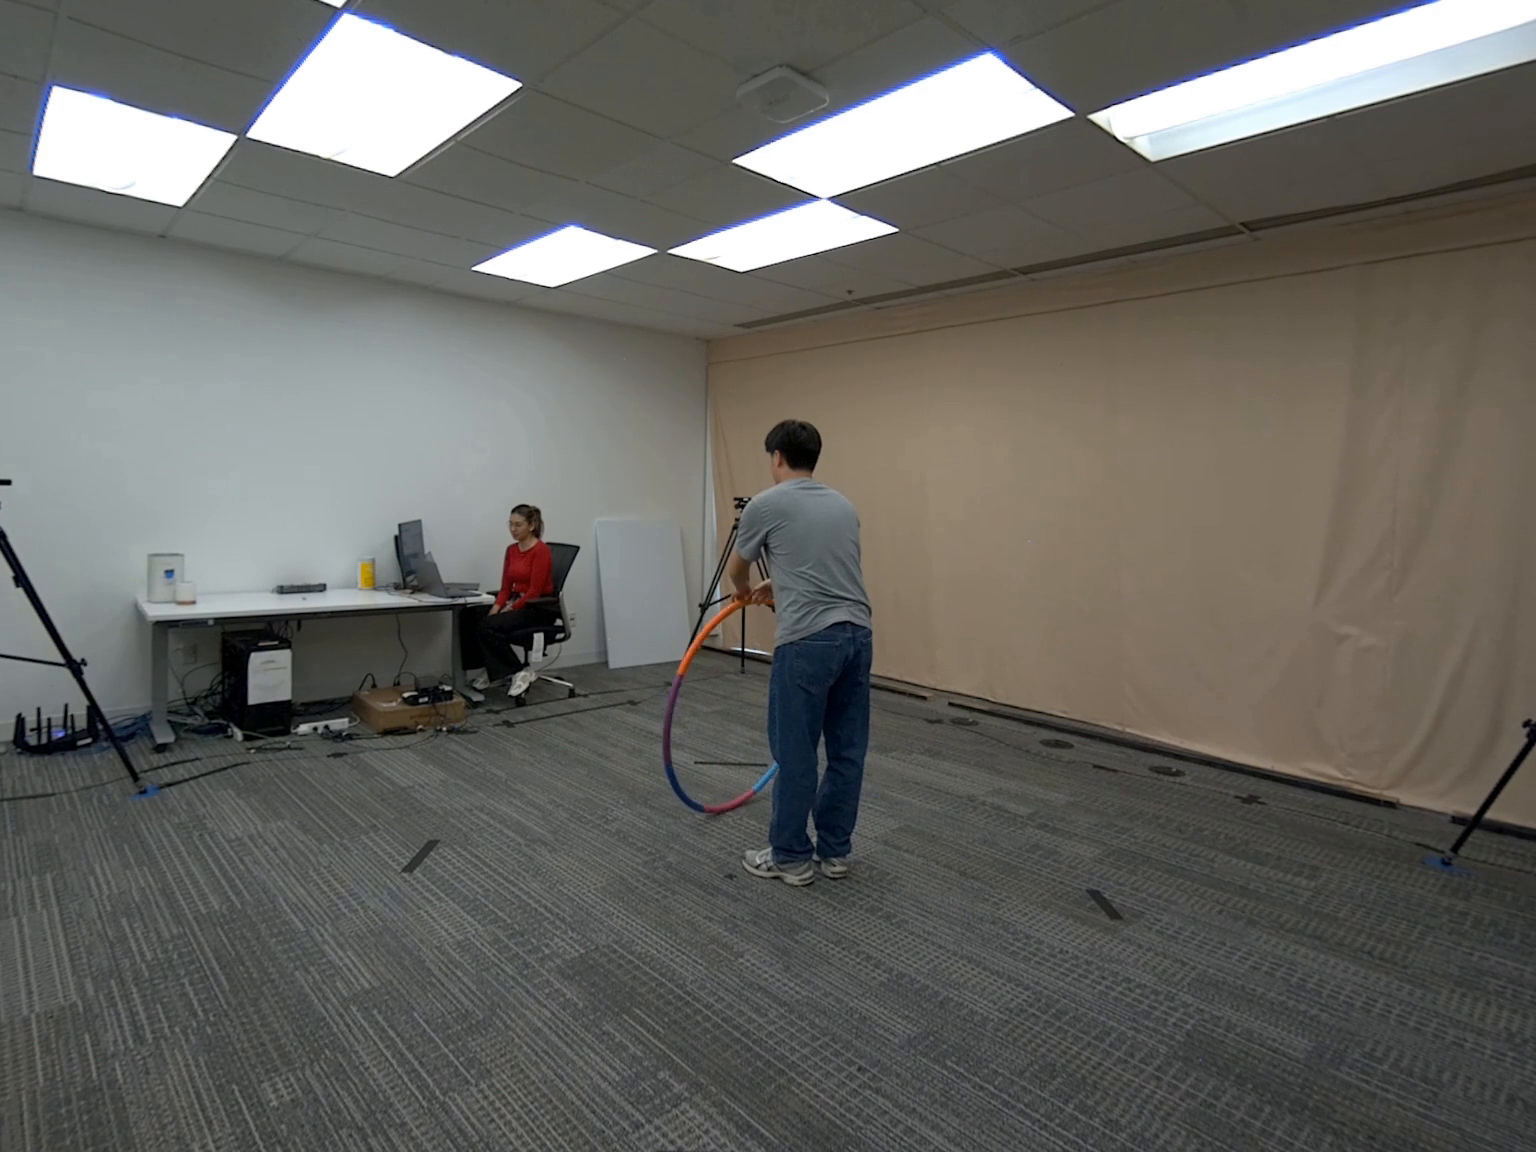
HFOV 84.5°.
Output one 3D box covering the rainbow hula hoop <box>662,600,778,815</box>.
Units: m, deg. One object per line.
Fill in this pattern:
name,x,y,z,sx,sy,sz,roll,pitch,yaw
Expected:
rainbow hula hoop,-0.132,0.566,3.726,0.036,0.973,0.957,14,11,37
